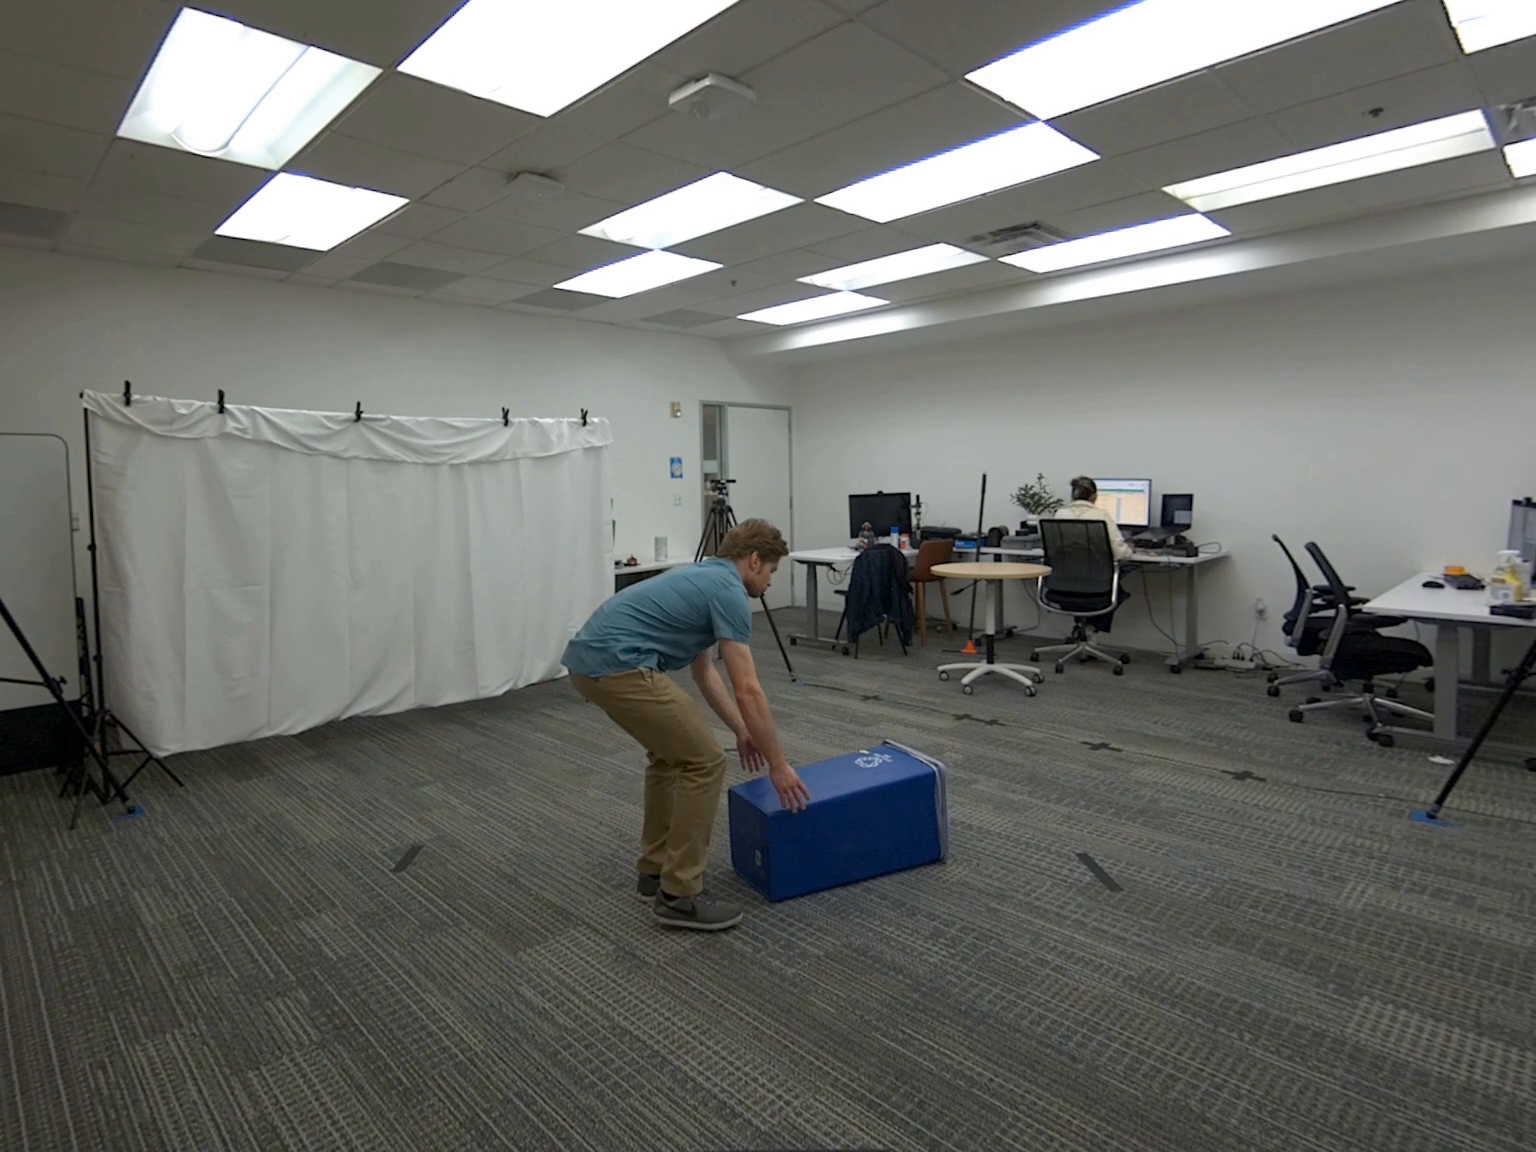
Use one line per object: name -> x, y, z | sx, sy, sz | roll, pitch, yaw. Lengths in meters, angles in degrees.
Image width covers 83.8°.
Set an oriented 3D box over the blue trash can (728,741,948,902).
blue trash can -> 0.250, 0.878, 3.073 | 0.699, 0.376, 0.384 | -7, 7, -26
